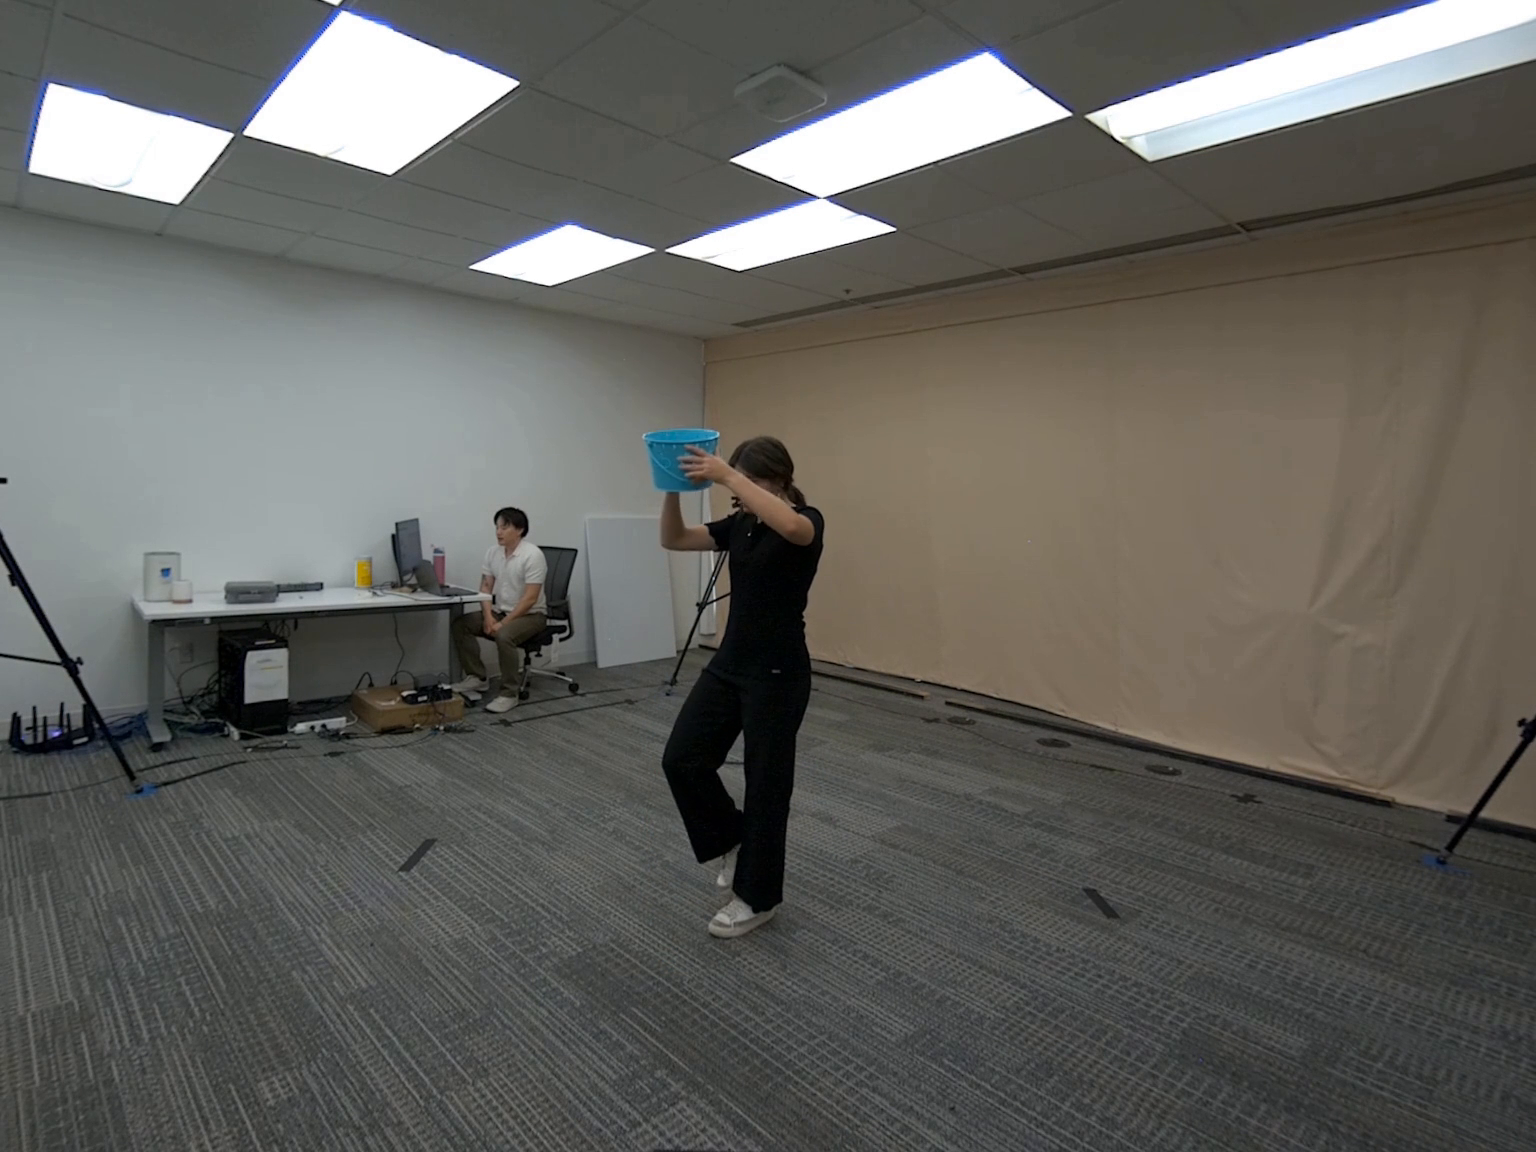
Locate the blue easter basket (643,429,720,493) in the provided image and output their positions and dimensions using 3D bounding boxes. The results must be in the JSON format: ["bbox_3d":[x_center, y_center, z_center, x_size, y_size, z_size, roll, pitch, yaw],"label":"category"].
[{"bbox_3d":[-0.264,-0.342,2.504,0.243,0.154,0.247,-3,18,-1],"label":"blue easter basket"}]
